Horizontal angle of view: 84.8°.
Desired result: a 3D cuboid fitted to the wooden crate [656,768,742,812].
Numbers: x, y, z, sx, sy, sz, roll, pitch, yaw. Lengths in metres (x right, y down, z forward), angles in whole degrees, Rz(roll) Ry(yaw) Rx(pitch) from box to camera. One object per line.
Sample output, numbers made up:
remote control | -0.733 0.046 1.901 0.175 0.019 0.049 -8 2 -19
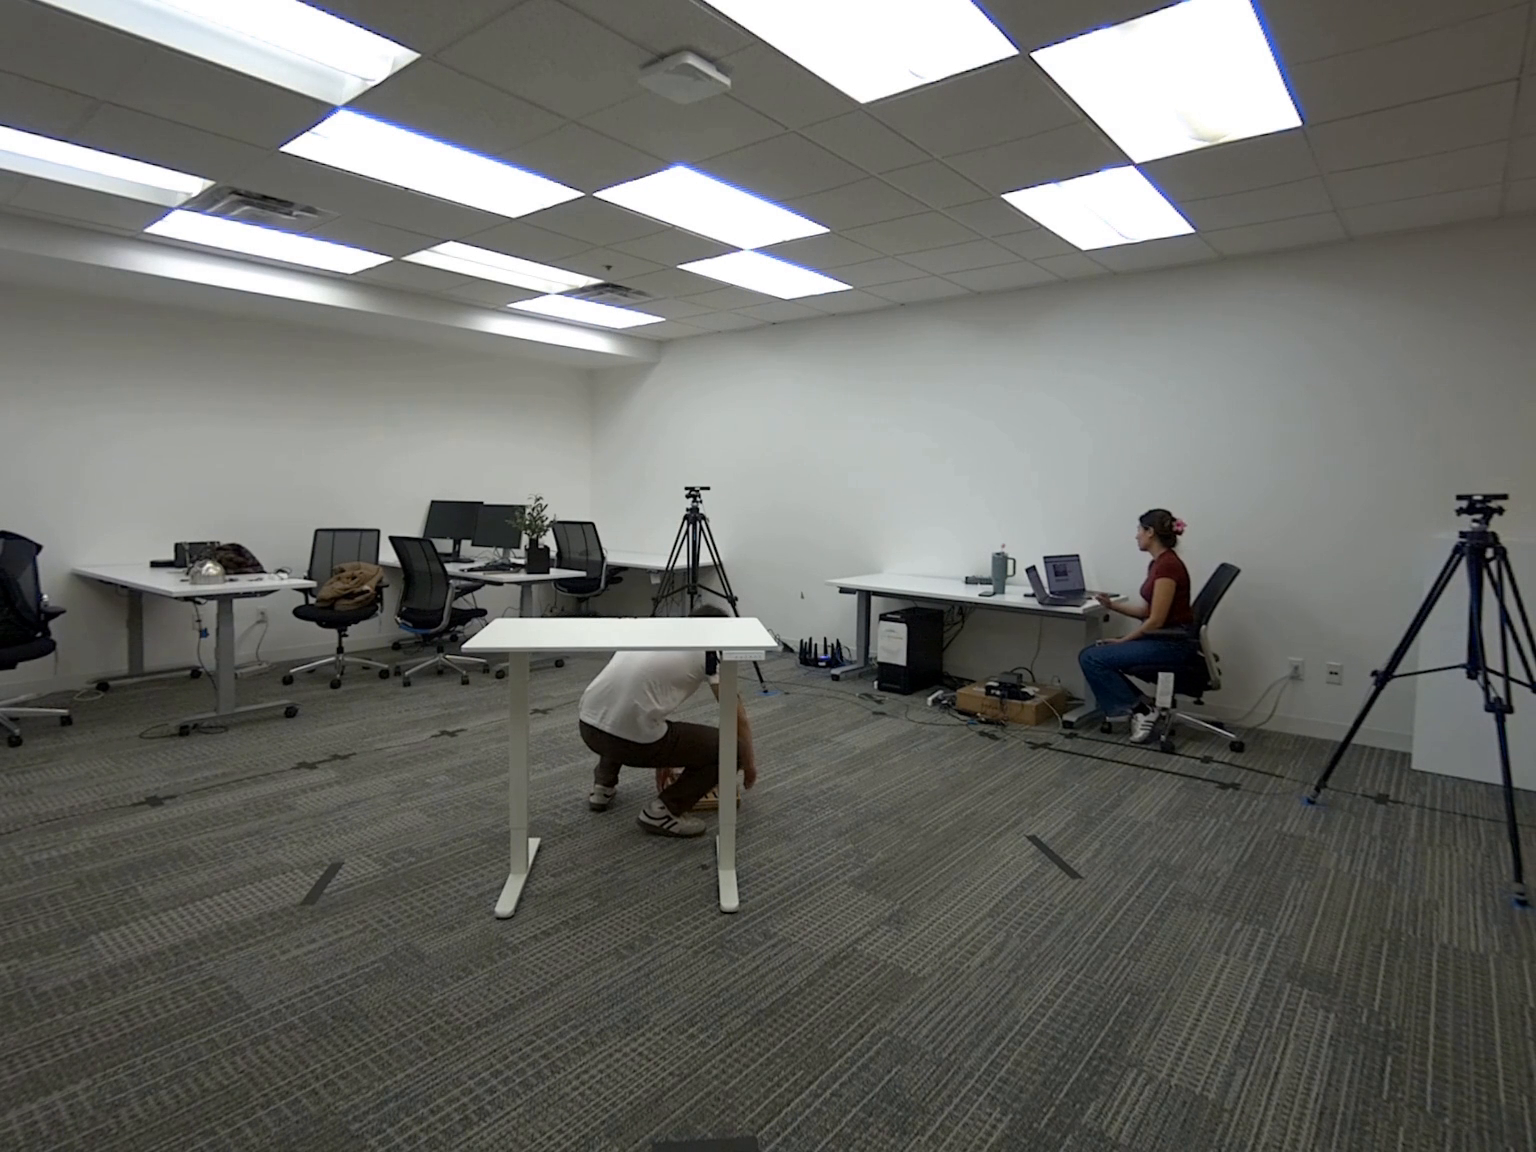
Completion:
wooden crate | -0.310 0.859 3.790 0.320 0.273 0.307 0 3 -13
